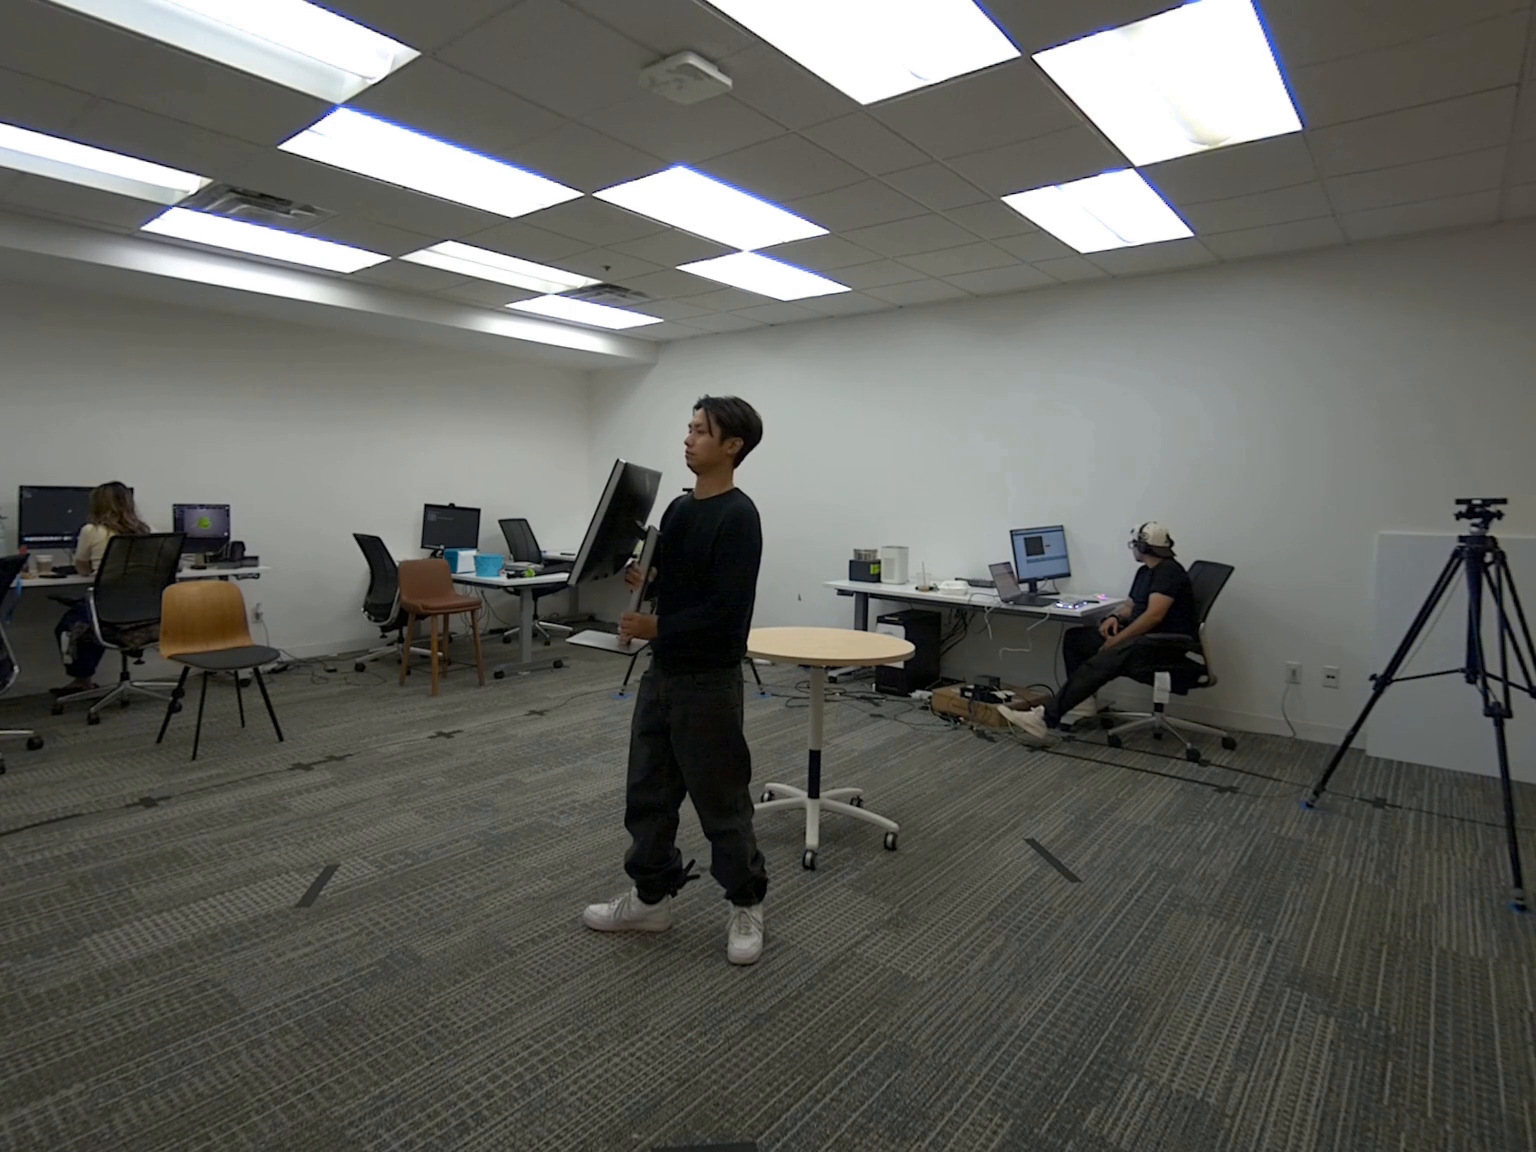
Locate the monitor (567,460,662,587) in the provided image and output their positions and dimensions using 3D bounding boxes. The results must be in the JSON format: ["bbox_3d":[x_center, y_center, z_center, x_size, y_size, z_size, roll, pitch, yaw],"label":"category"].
[{"bbox_3d":[-0.440,-0.064,2.520,0.175,0.515,0.528,6,3,3],"label":"monitor"}]
